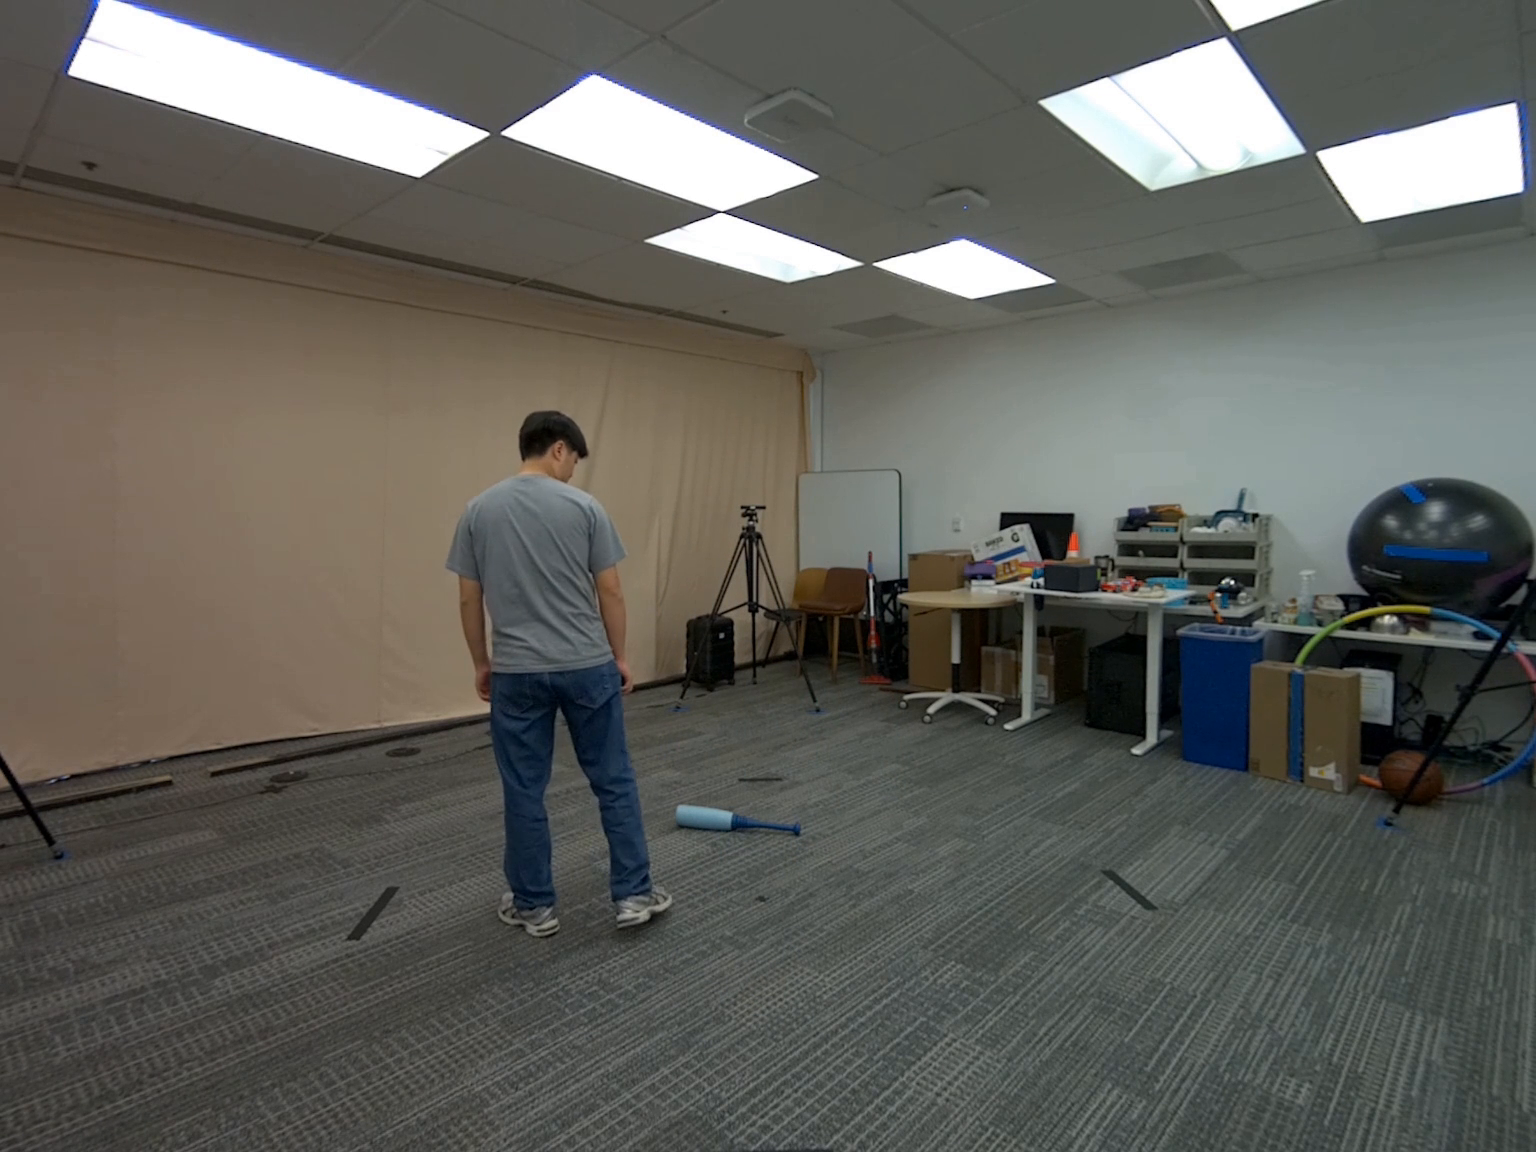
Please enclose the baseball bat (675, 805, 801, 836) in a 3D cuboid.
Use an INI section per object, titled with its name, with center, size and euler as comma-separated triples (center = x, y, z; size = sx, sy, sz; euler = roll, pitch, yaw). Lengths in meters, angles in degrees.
[baseball bat]
center = -0.132, 1.055, 3.609
size = 0.550, 0.089, 0.088
euler = 3, 4, 11
